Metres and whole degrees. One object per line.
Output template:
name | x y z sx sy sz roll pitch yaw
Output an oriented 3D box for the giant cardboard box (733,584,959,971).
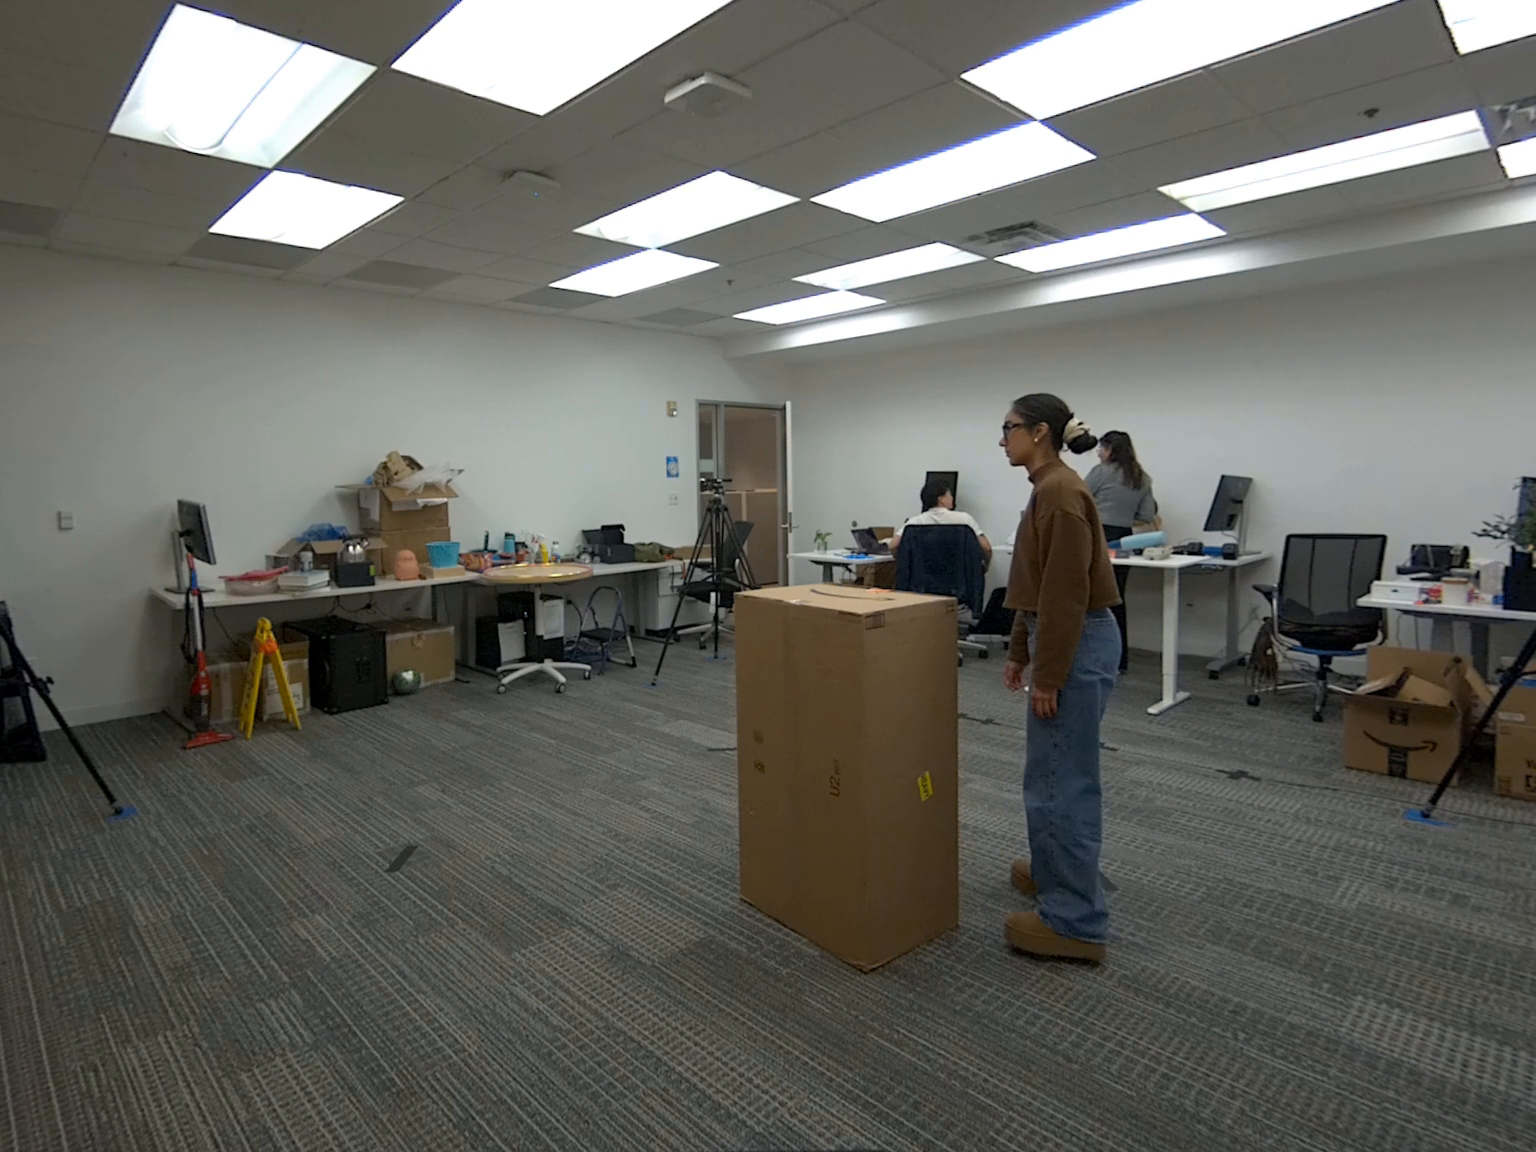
giant cardboard box | 0.249 0.576 2.723 0.415 1.023 0.595 -4 5 -40
